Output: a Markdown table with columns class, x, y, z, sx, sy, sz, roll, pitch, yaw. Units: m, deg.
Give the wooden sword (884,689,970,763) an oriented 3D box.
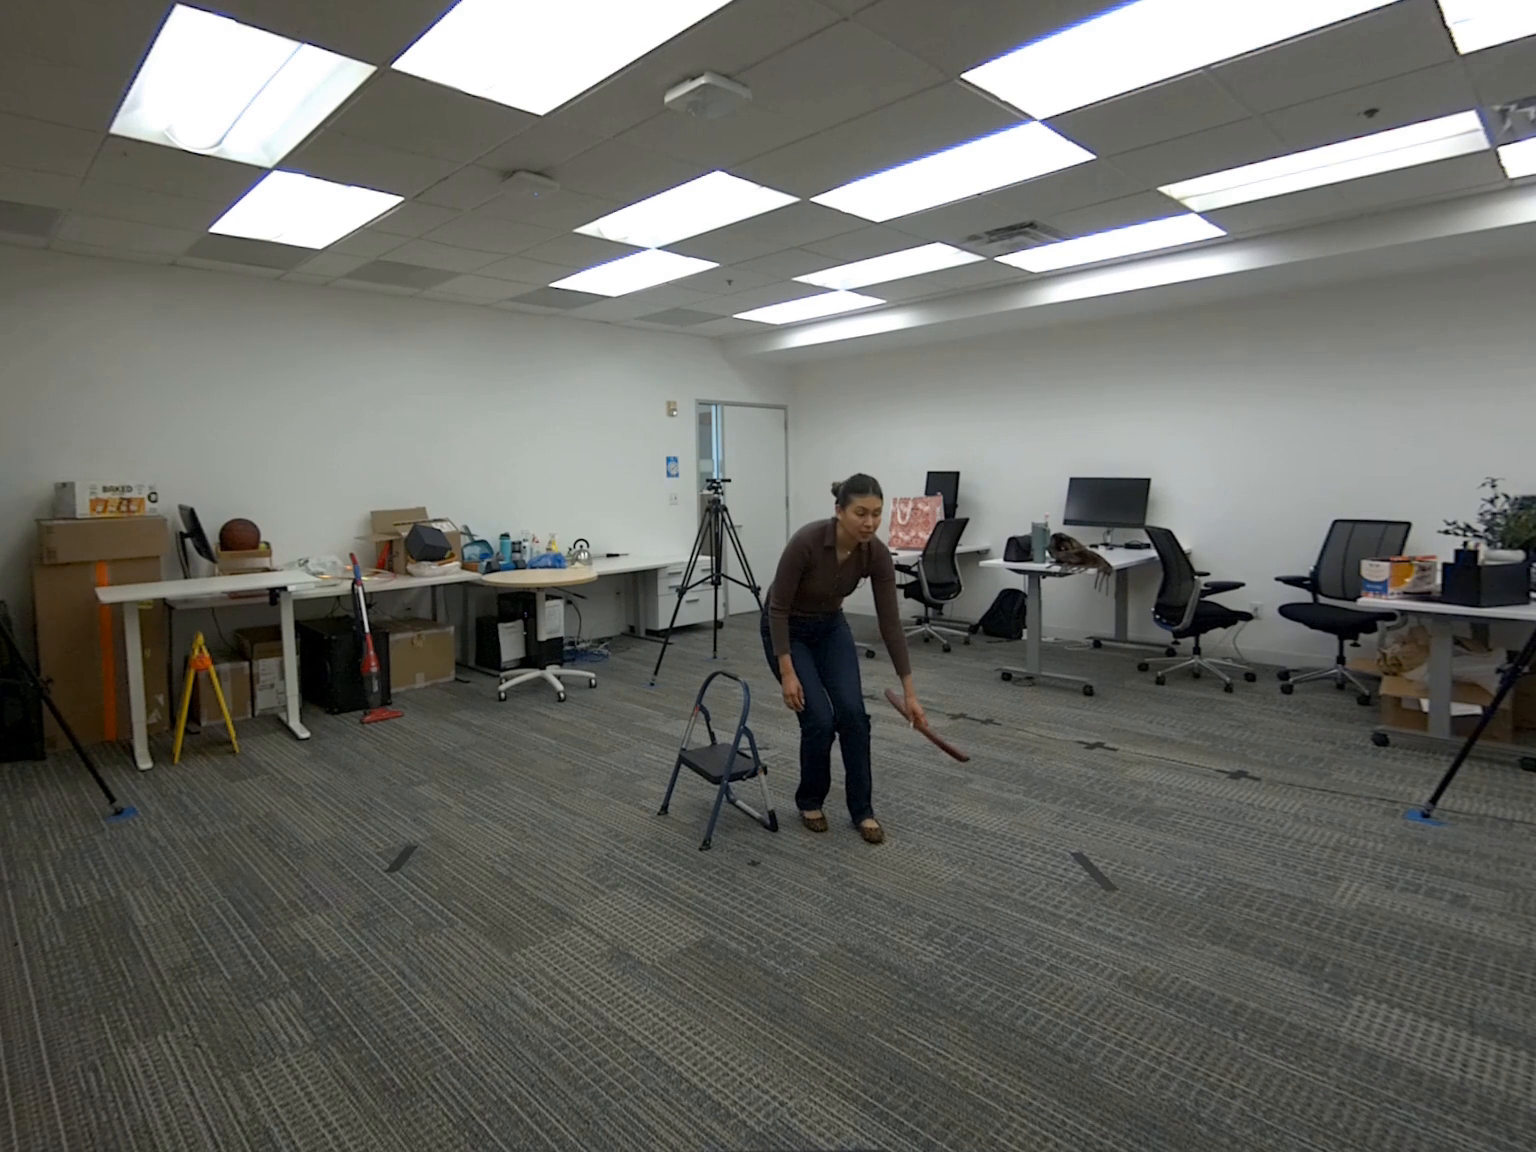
| class | x | y | z | sx | sy | sz | roll | pitch | yaw |
| --- | --- | --- | --- | --- | --- | --- | --- | --- | --- |
| wooden sword | 0.579 | 0.558 | 3.280 | 0.024 | 0.051 | 1.032 | 8 | 4 | -6 |
